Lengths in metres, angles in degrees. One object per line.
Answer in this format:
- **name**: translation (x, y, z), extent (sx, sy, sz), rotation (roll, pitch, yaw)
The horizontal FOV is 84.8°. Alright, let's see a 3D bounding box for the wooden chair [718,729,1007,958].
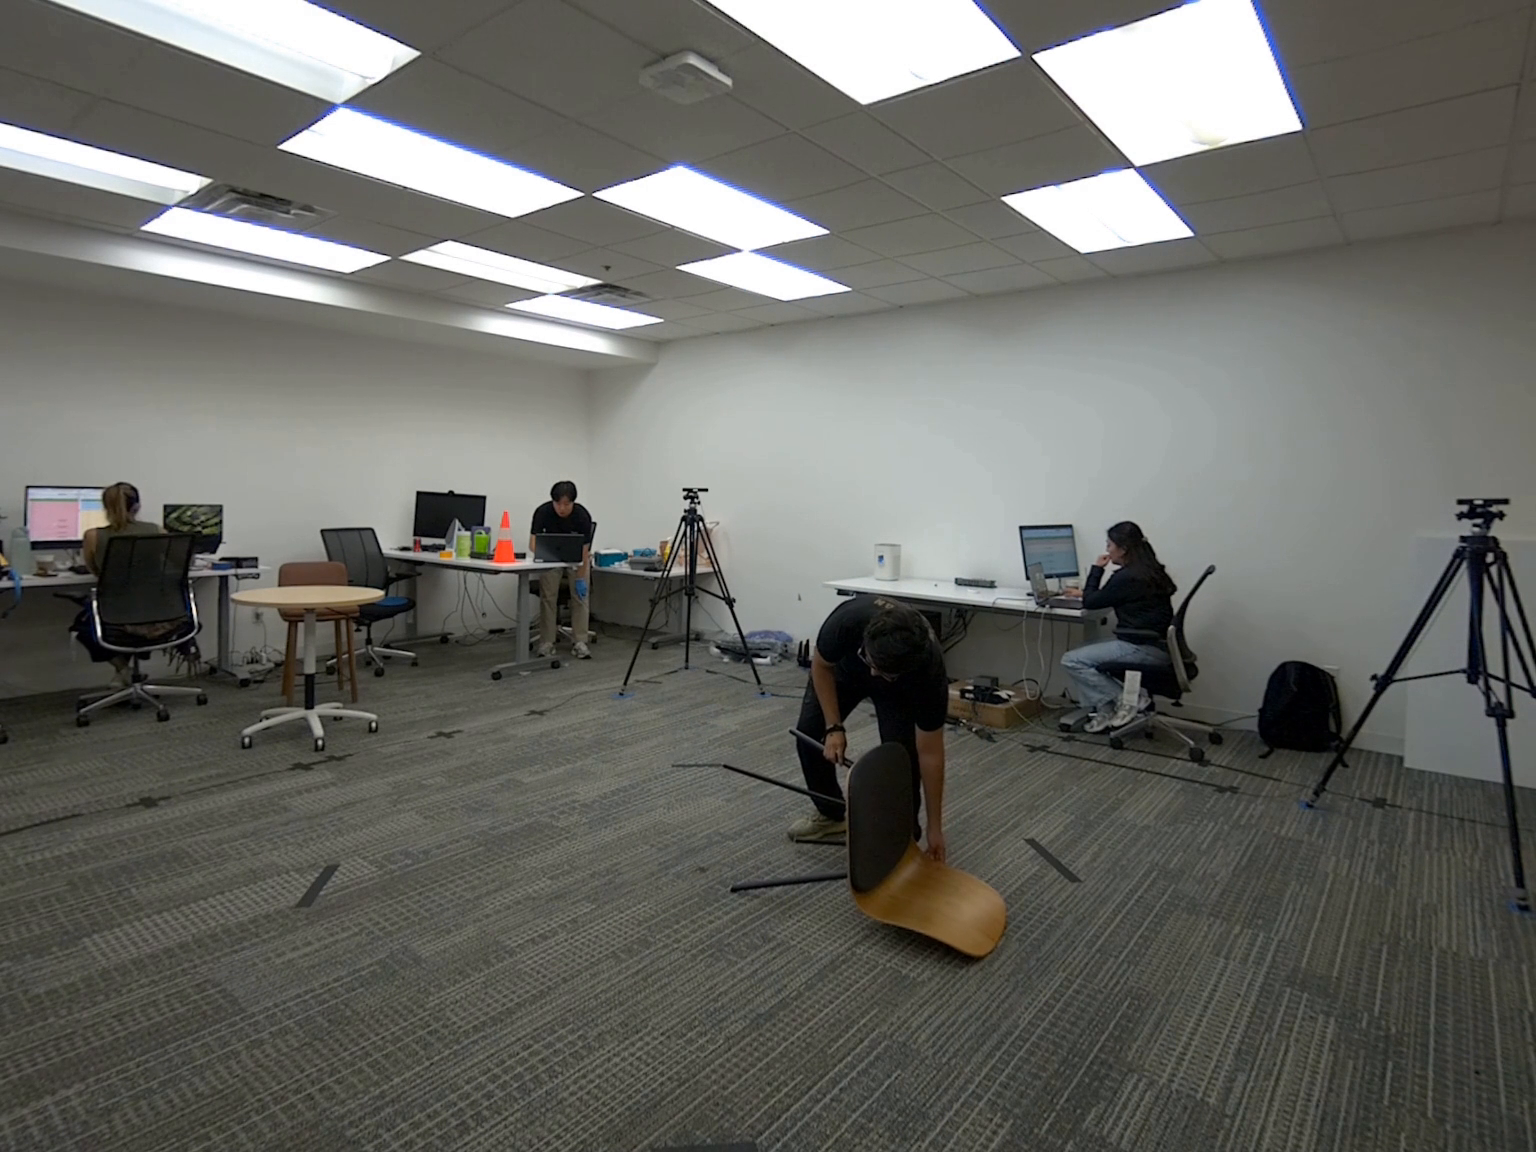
- **wooden chair**: translation (0.328, 0.839, 2.839), extent (0.906, 0.519, 0.466), rotation (7, 10, 34)
